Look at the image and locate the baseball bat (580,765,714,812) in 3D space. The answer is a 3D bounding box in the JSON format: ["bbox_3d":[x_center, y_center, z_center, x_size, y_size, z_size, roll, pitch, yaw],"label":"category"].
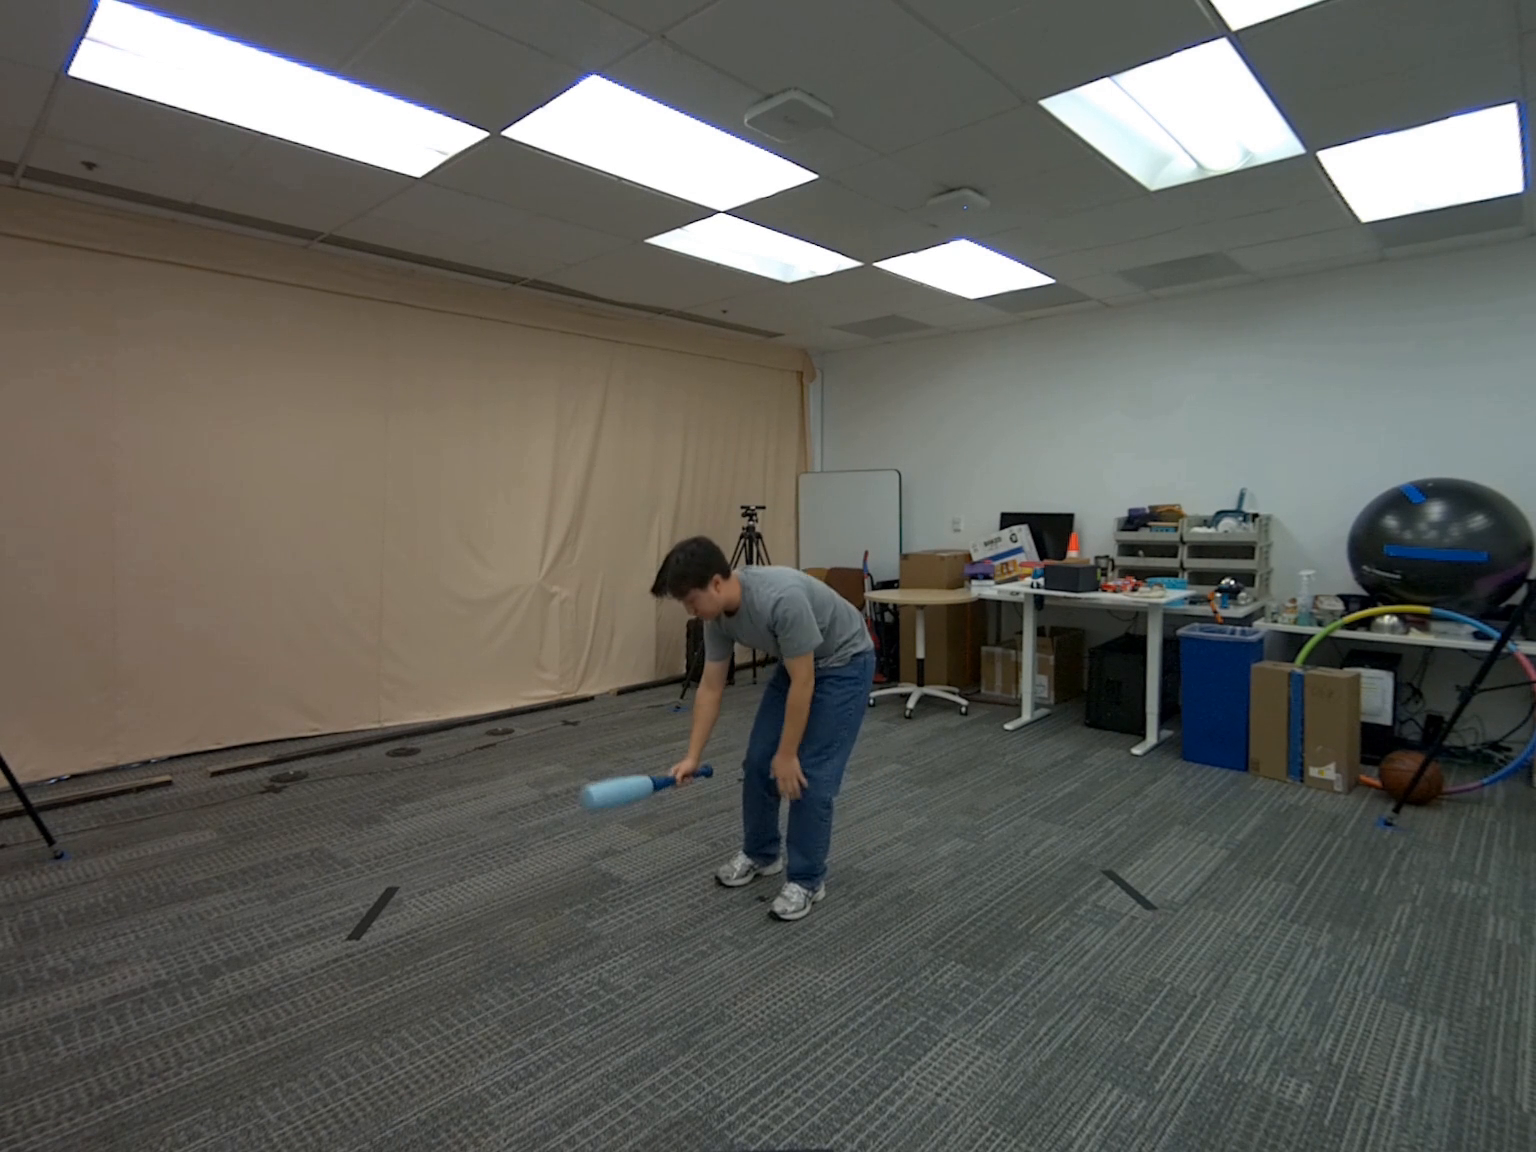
[{"bbox_3d":[-0.393,0.686,2.842,0.525,0.089,0.092,1,2,-44],"label":"baseball bat"}]
